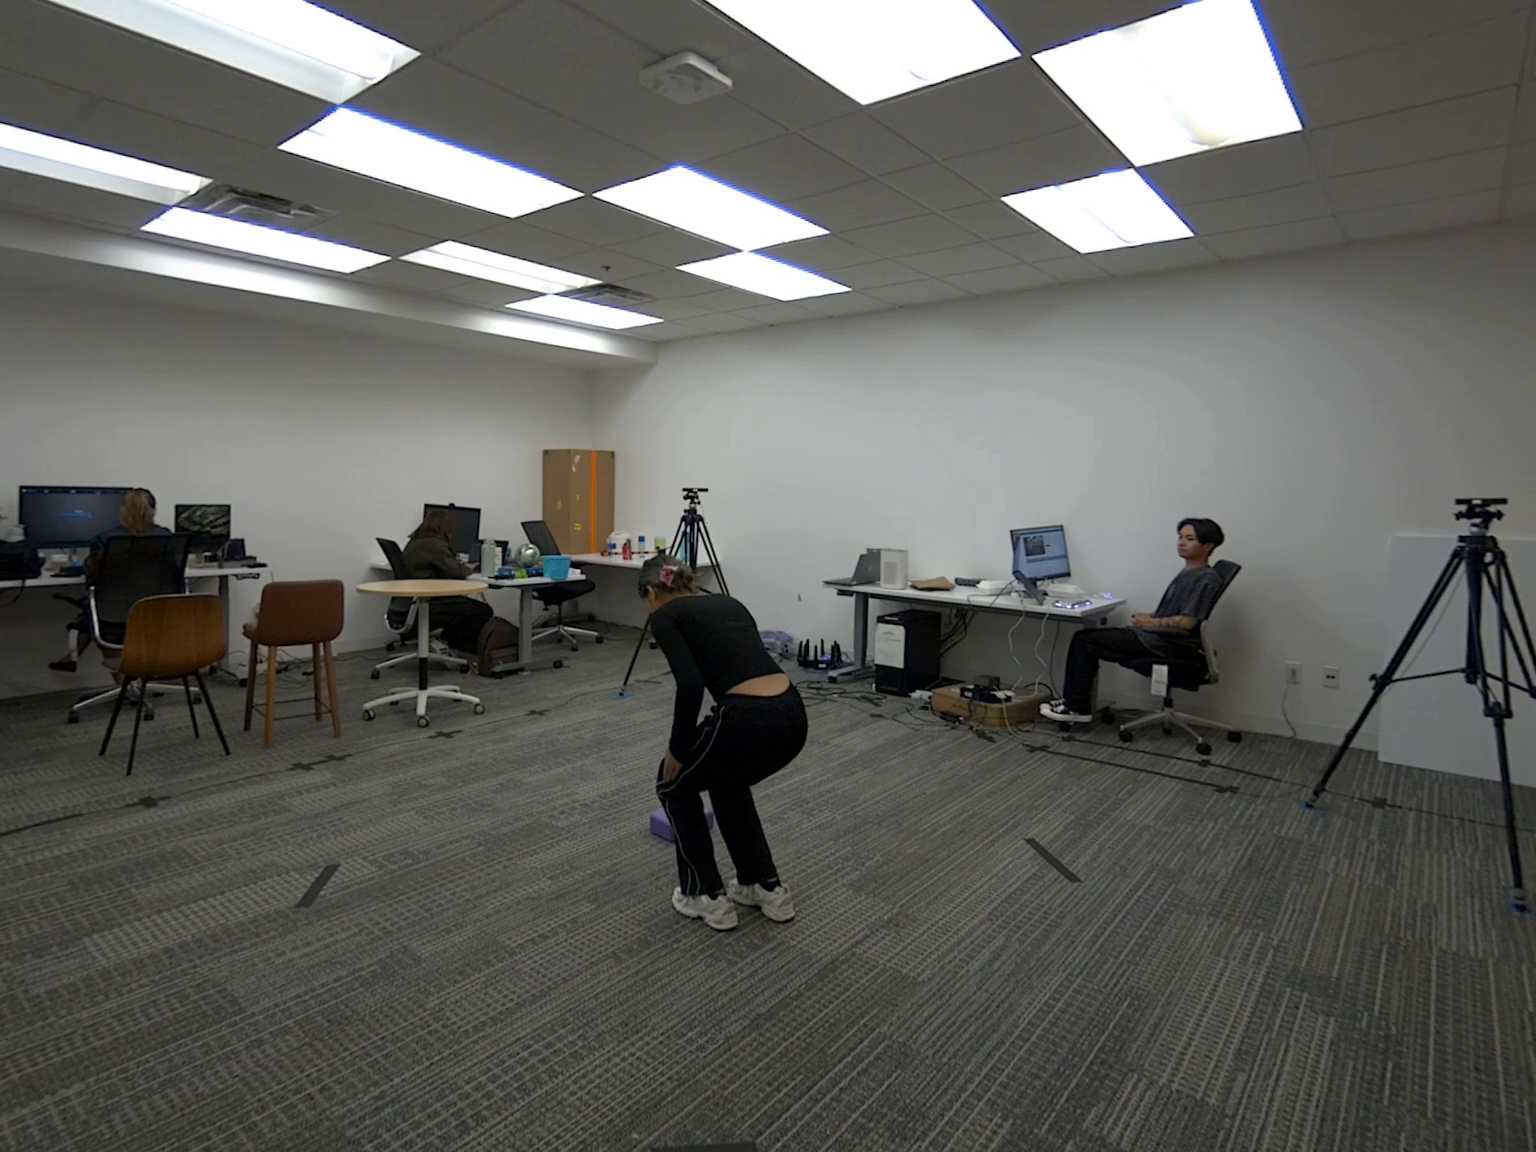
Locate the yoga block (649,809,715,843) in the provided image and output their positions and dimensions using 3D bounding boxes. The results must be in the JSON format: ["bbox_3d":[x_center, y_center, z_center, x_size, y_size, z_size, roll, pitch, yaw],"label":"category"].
[{"bbox_3d":[-0.361,0.990,3.461,0.154,0.076,0.222,6,7,44],"label":"yoga block"}]
